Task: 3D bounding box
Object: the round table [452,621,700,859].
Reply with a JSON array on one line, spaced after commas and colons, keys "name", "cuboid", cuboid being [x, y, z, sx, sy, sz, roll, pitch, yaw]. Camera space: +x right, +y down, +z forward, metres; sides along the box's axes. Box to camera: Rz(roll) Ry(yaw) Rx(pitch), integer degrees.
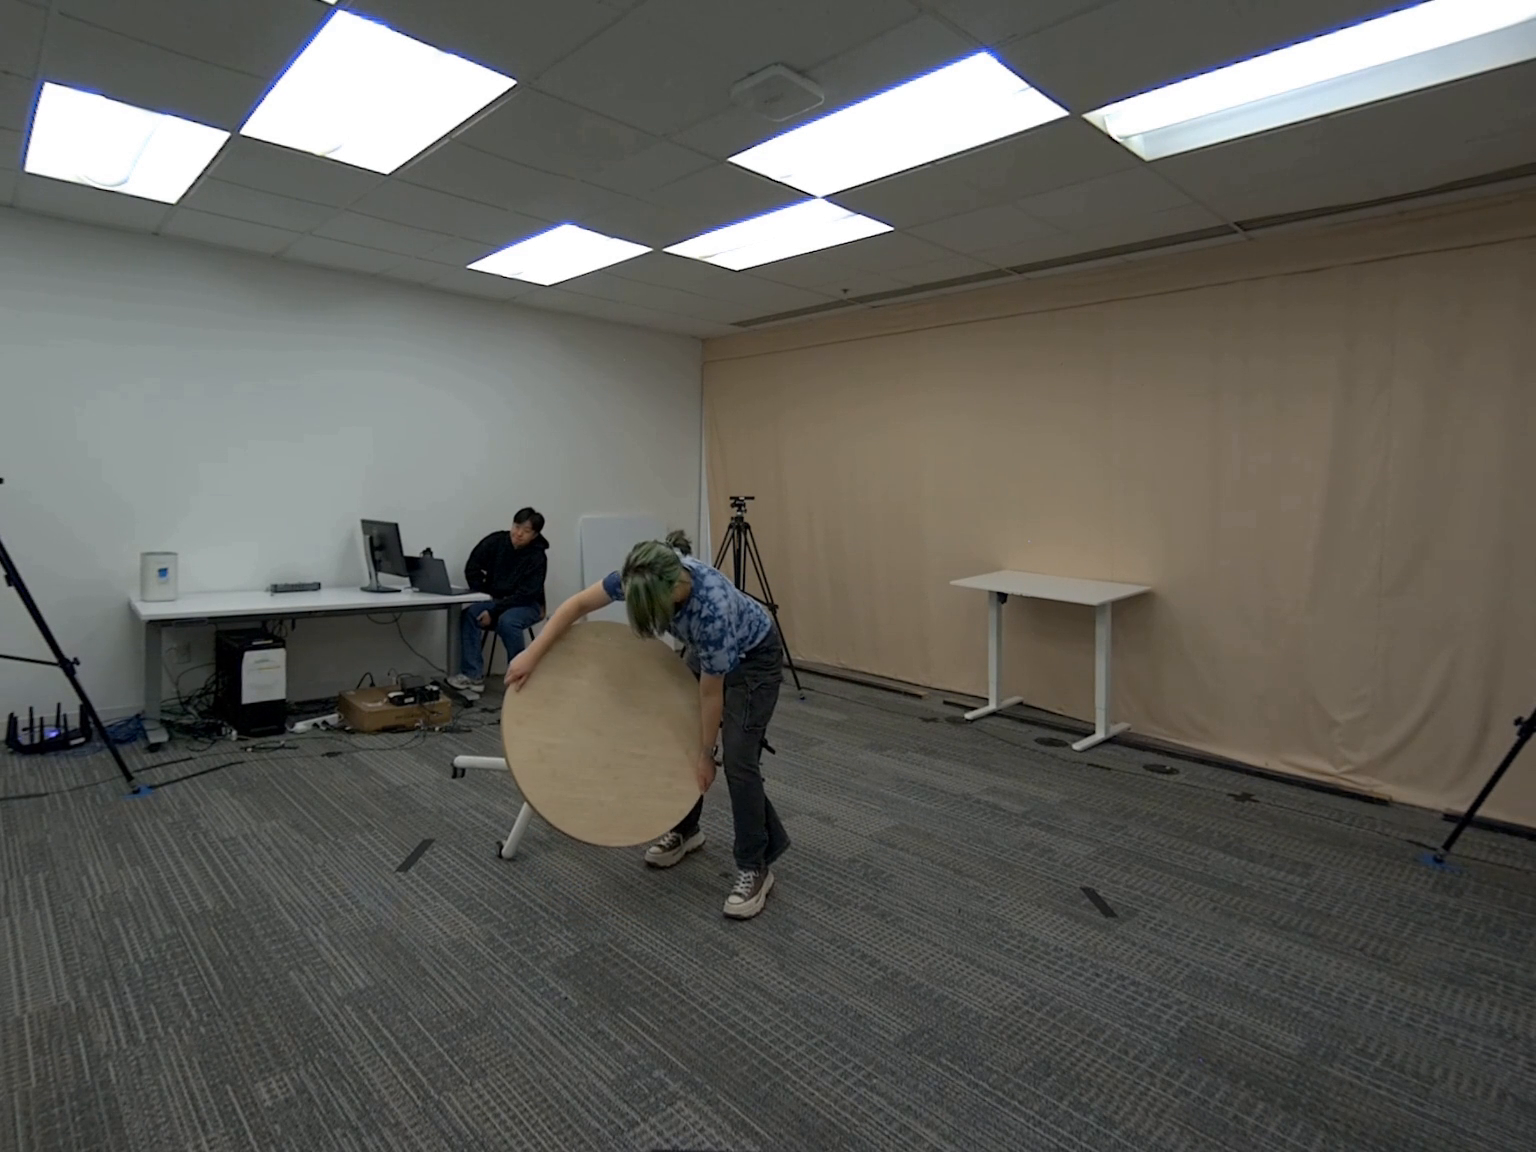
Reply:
[{"name": "round table", "cuboid": [-0.739, 0.660, 3.137, 0.747, 0.777, 0.798, -2, -22, -35]}]
